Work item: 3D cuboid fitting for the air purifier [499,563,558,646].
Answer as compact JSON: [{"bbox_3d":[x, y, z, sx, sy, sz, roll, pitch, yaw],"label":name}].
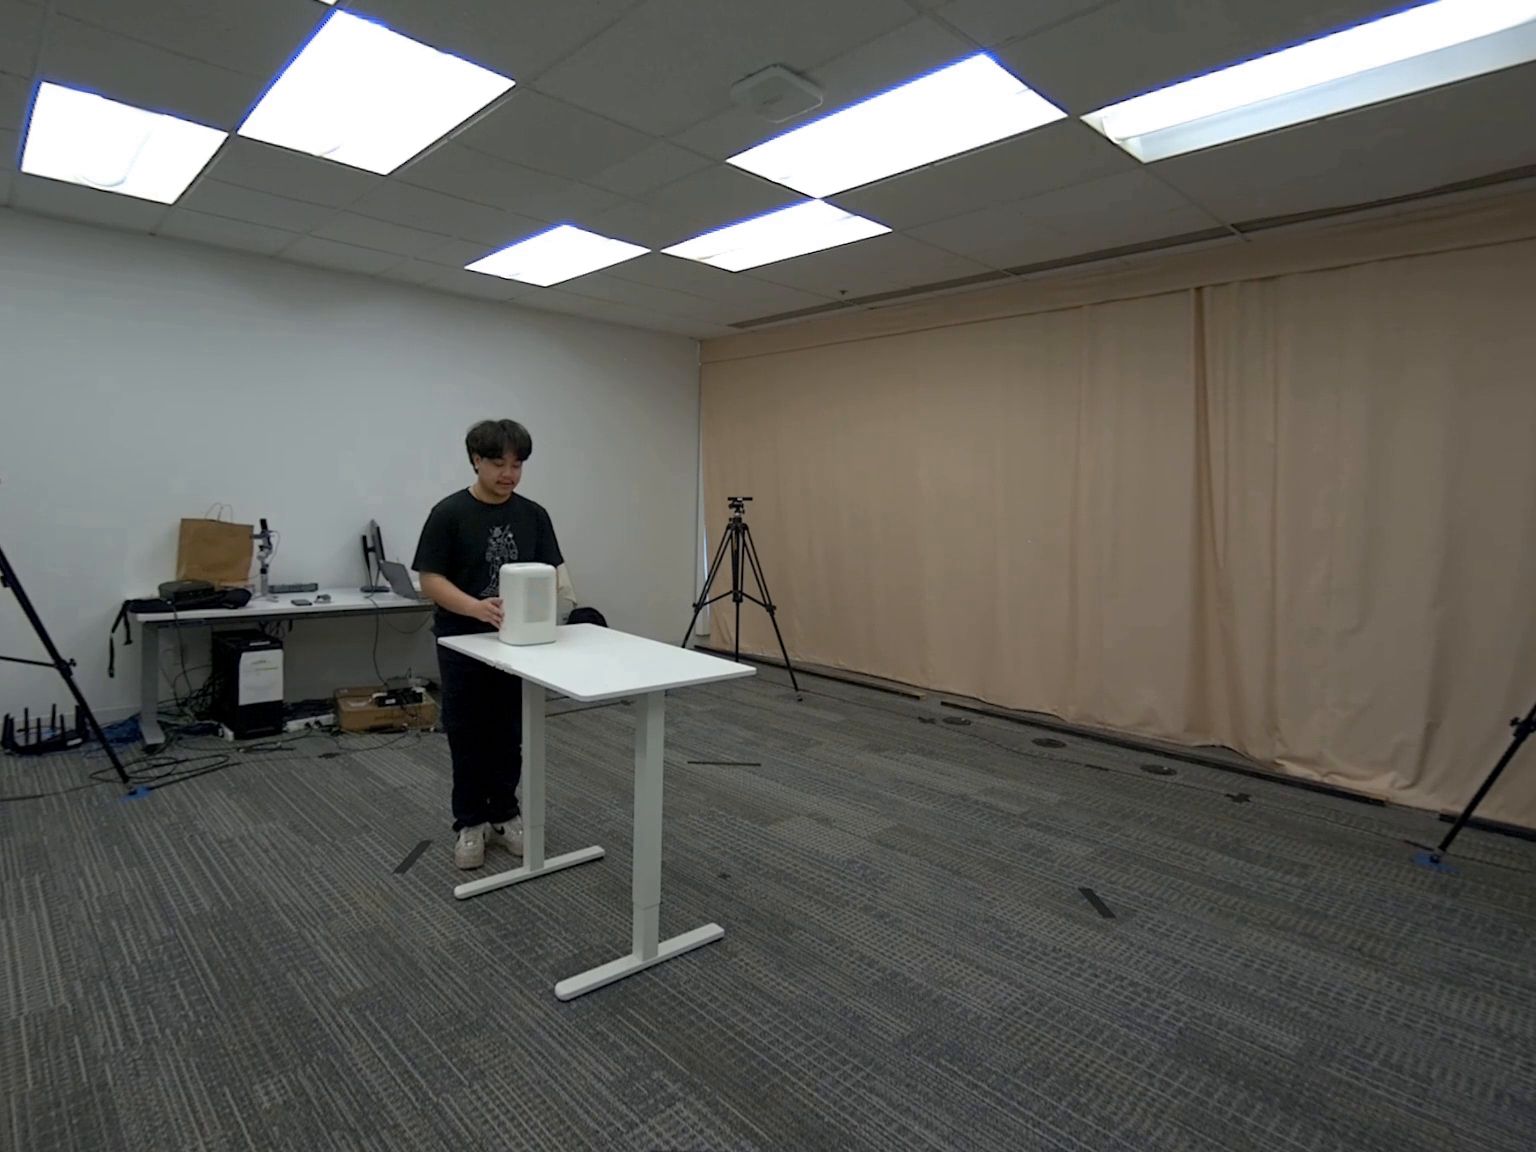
[{"bbox_3d":[-0.836,0.093,2.885,0.168,0.264,0.175,-1,6,-37],"label":"air purifier"}]
